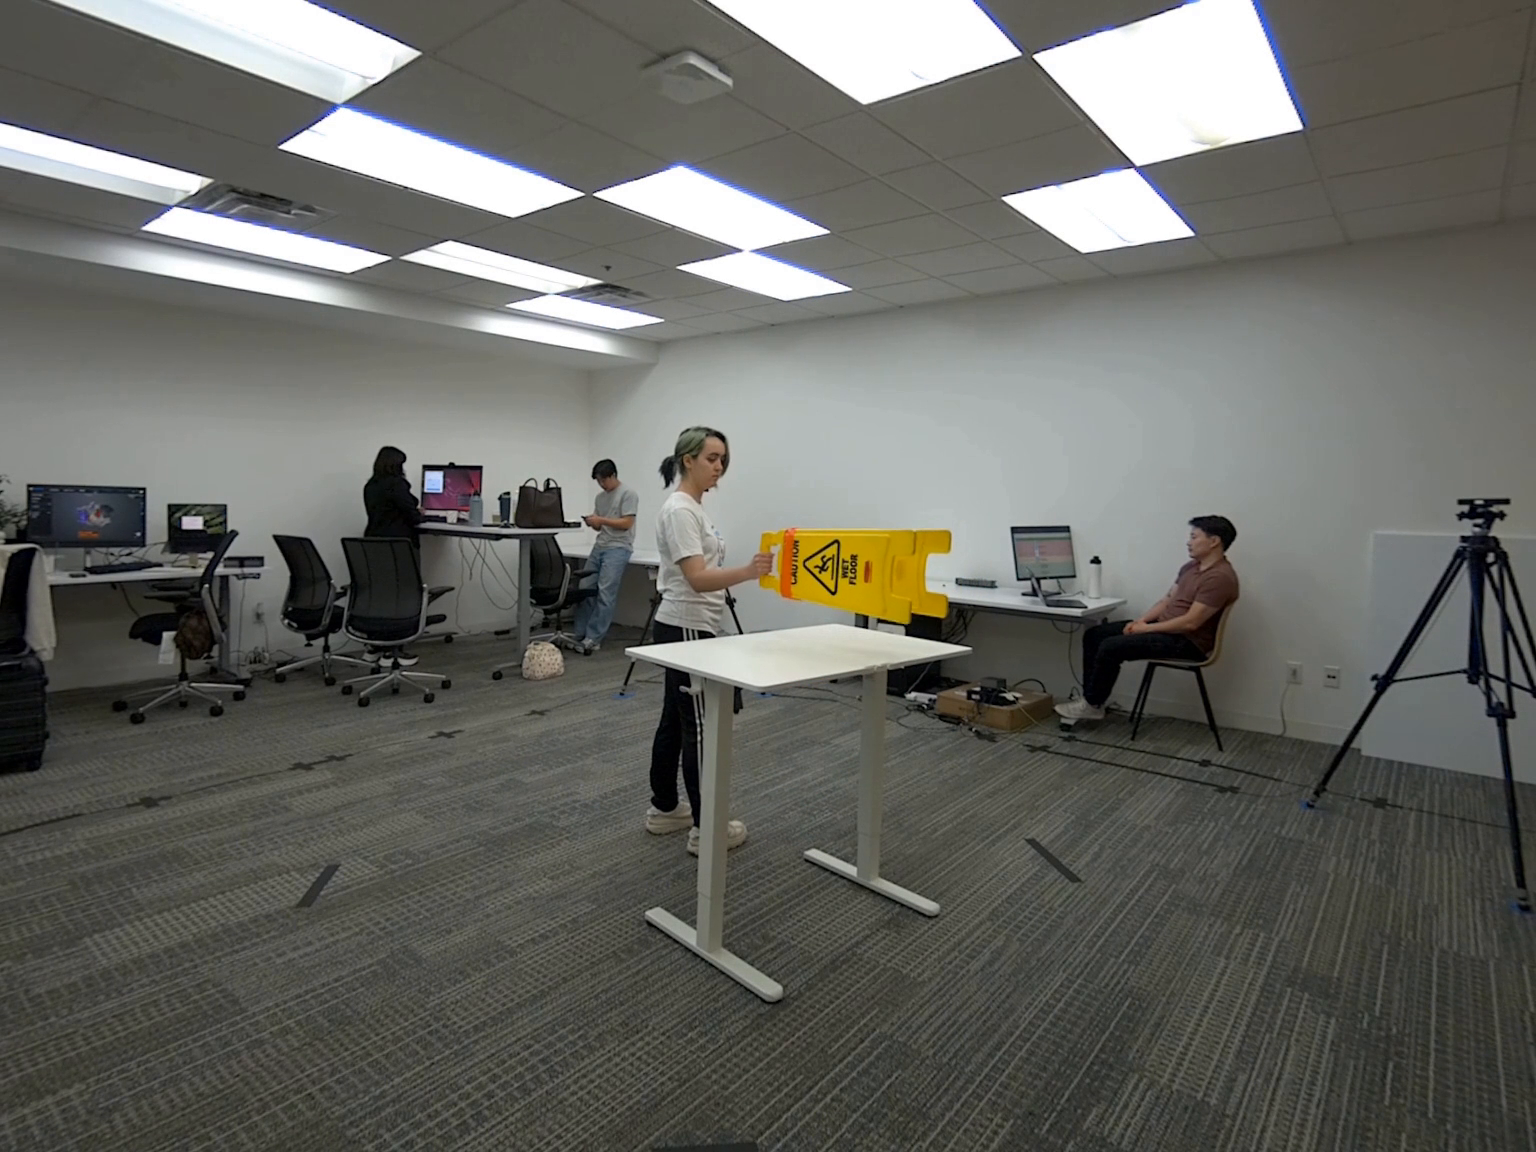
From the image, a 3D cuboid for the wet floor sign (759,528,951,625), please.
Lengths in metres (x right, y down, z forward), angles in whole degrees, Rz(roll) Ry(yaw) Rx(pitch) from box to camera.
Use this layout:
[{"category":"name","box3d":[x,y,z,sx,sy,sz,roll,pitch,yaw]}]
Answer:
[{"category":"wet floor sign","box3d":[0.229,-0.028,2.794,0.668,0.281,0.281,6,5,38]}]
